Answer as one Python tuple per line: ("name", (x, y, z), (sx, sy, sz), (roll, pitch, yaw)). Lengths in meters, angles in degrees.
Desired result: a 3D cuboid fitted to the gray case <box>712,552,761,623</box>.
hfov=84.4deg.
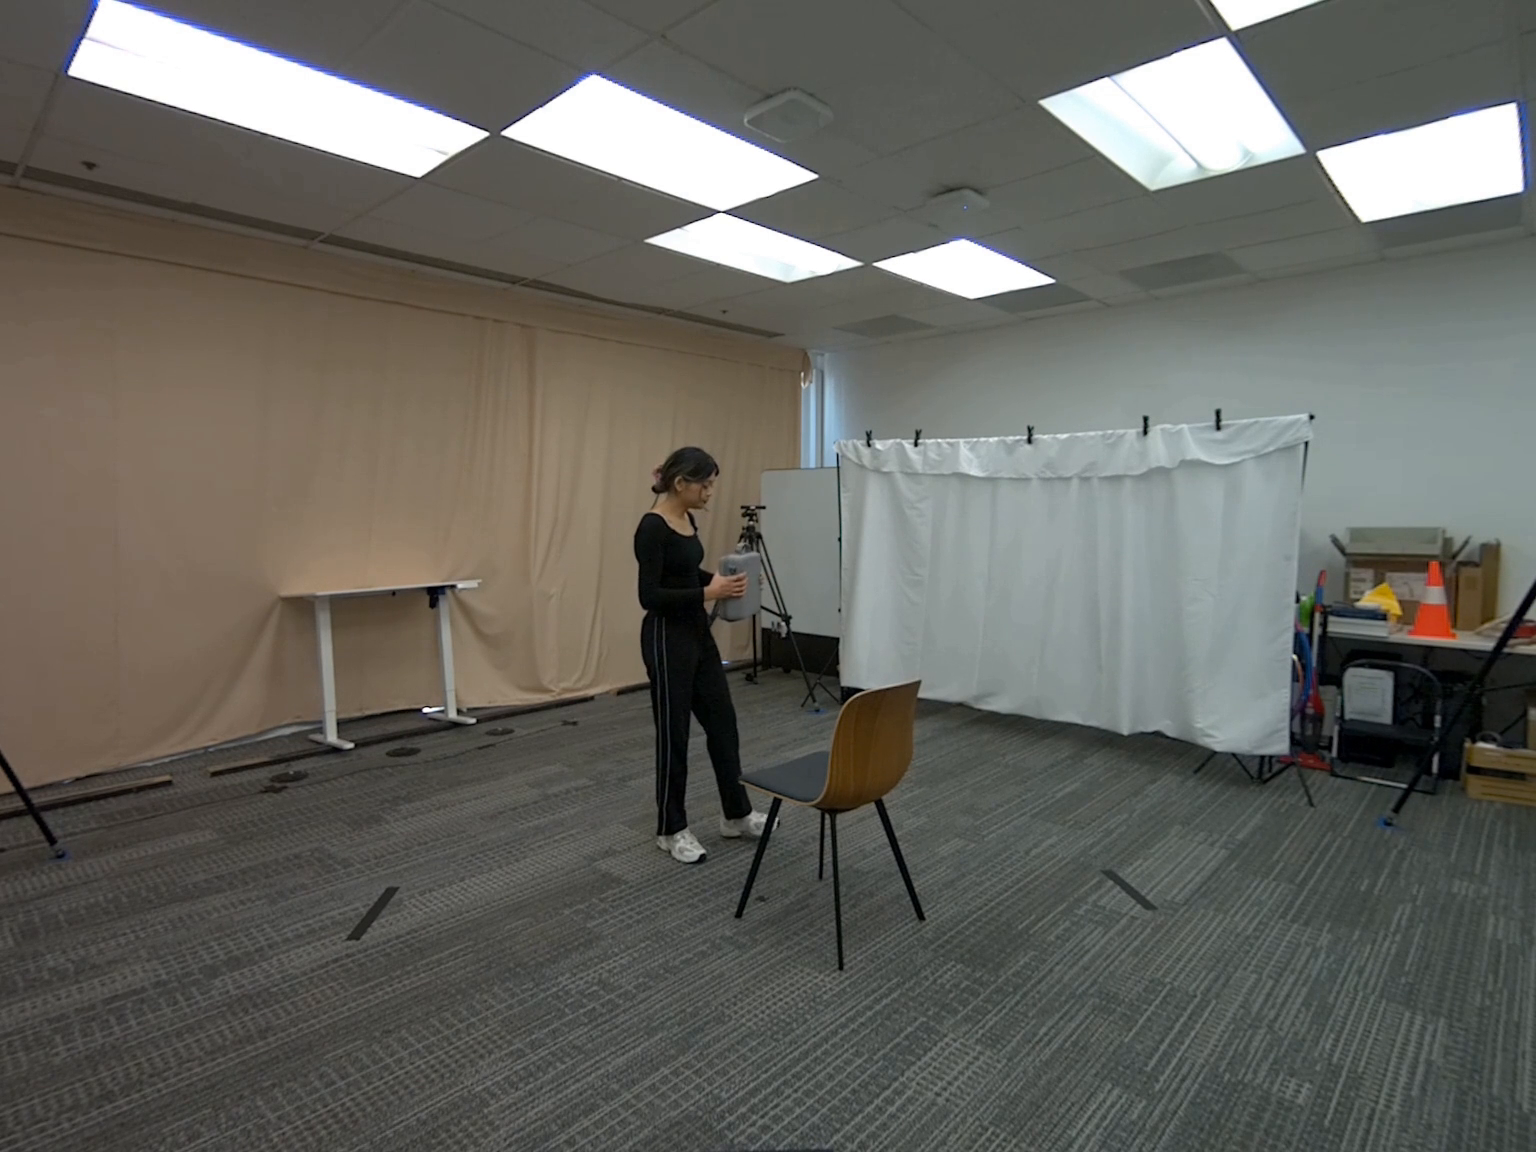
("gray case", (-0.104, 0.033, 3.291), (0.106, 0.260, 0.253), (5, 7, 16))
